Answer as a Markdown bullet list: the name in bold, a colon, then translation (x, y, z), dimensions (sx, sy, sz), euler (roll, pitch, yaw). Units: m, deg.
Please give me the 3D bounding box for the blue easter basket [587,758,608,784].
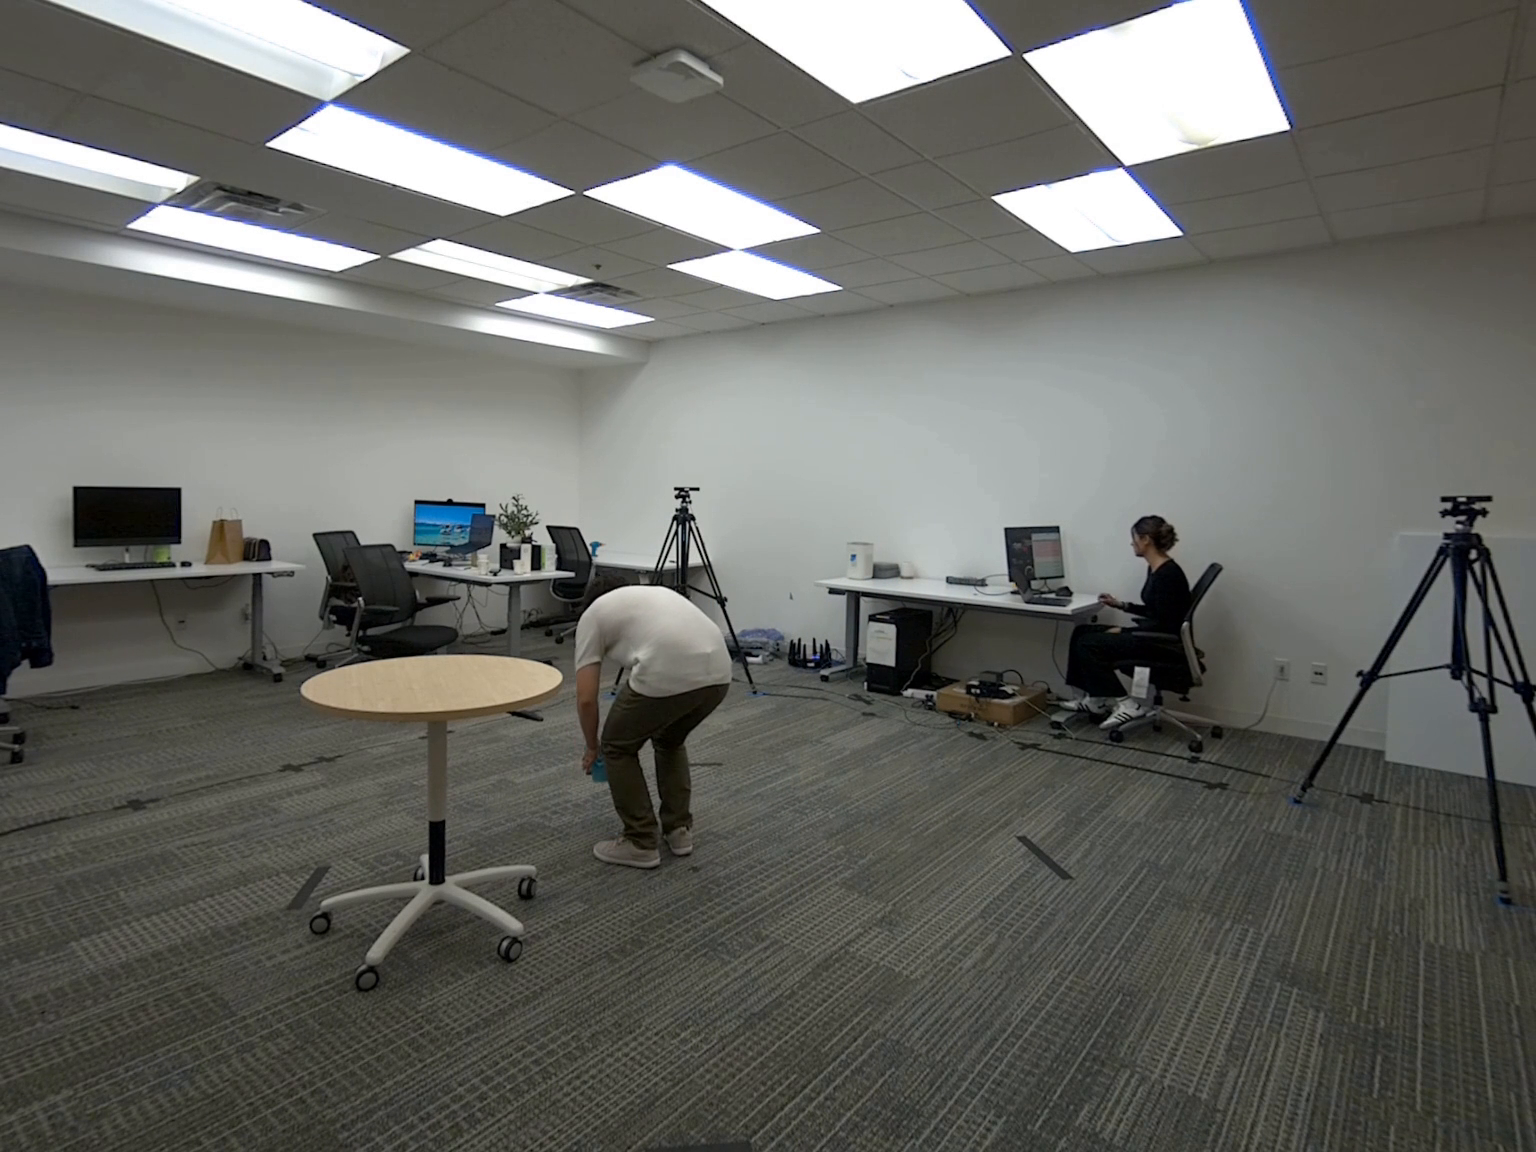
- **blue easter basket**: translation (-0.650, 0.755, 3.522), dimensions (0.243, 0.156, 0.243), euler (-5, -2, -2)
